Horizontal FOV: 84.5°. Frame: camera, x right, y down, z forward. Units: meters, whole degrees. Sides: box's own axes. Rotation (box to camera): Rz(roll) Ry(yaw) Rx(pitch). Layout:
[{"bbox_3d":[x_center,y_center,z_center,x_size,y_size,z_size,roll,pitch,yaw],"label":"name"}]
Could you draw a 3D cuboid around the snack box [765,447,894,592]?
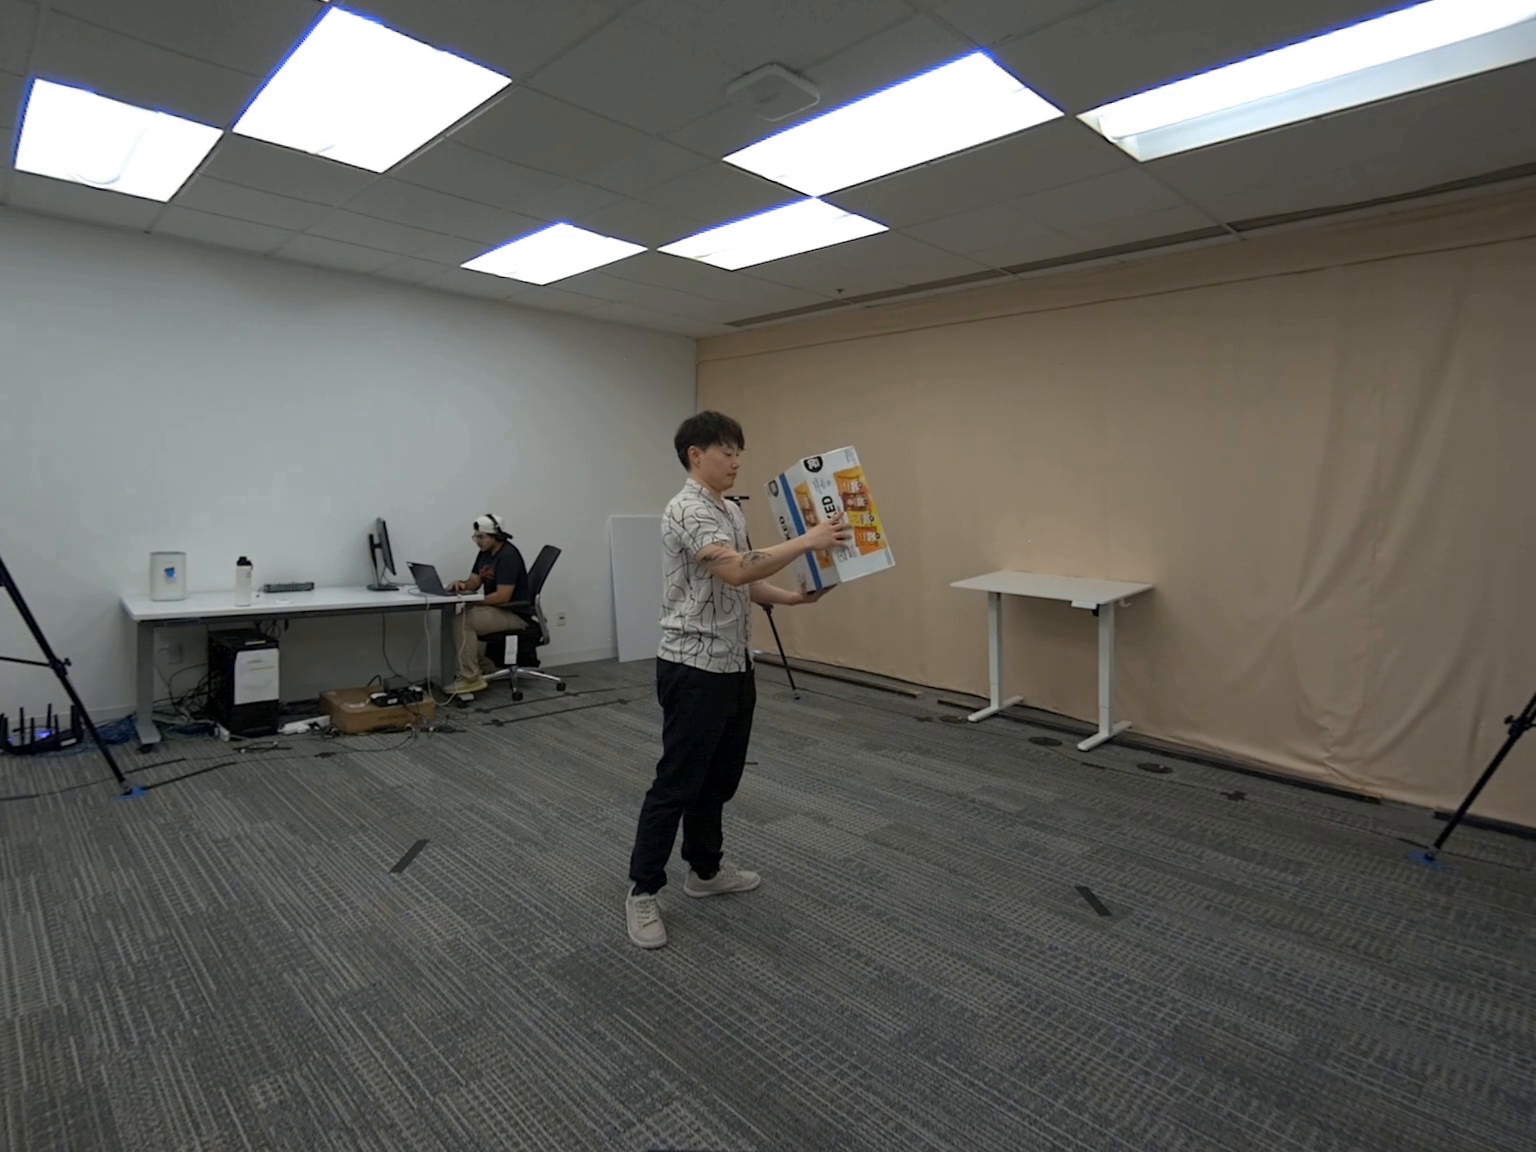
[{"bbox_3d":[0.188,-0.177,2.797,0.203,0.406,0.343,-17,-3,-21],"label":"snack box"}]
